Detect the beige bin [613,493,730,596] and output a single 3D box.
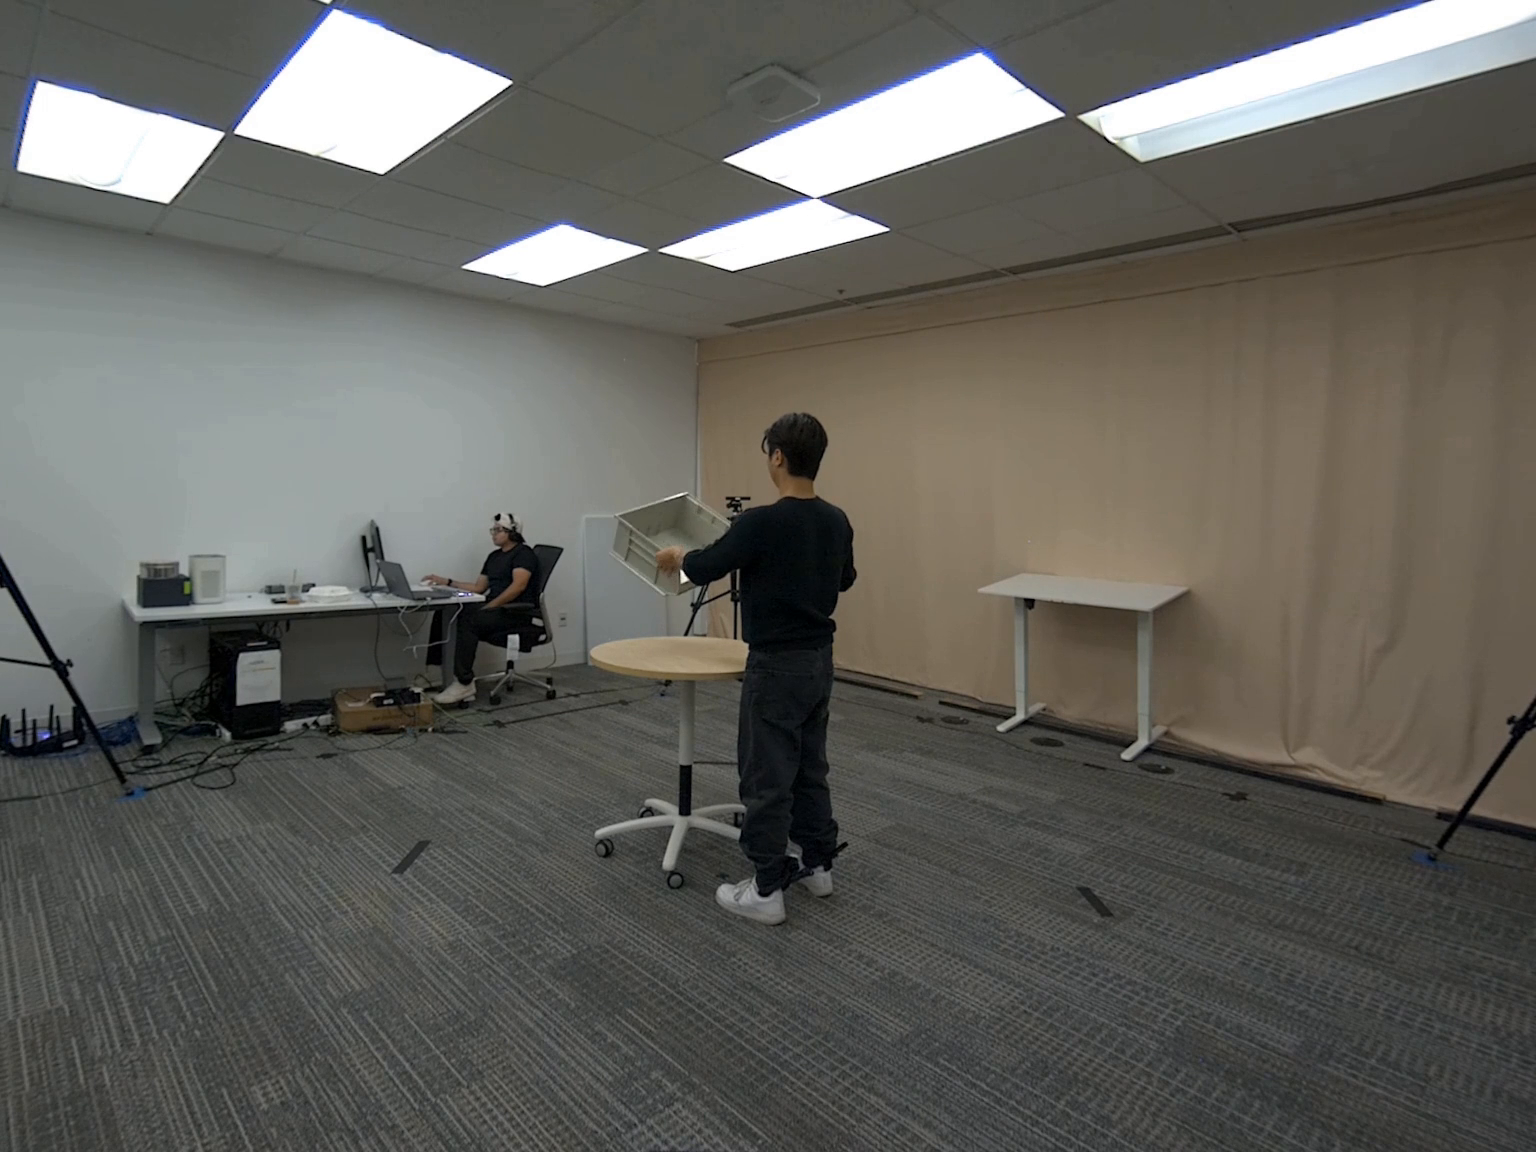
[{"bbox_3d":[-0.351,-0.117,3.337,0.387,0.187,0.417,34,34,24],"label":"beige bin"}]
